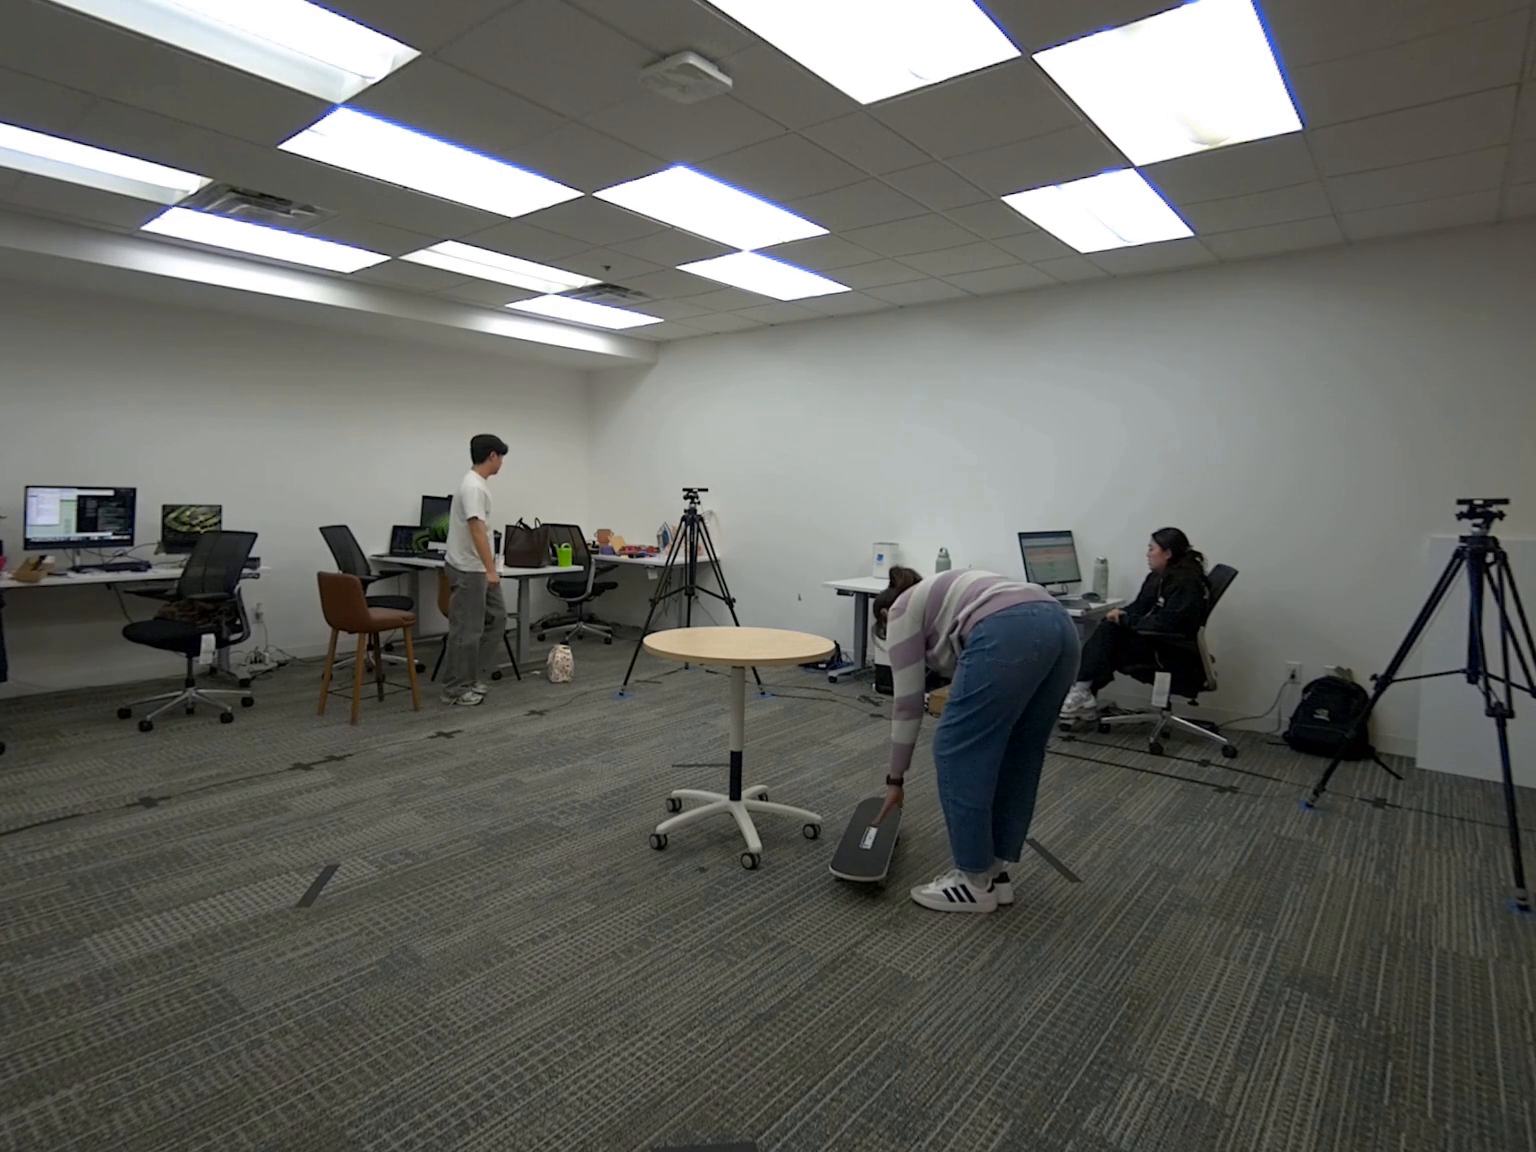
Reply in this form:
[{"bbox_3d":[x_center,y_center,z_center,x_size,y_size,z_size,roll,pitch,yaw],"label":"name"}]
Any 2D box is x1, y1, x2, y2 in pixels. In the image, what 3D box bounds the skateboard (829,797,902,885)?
[{"bbox_3d":[0.373,1.013,3.209,0.197,0.110,0.775,1,6,15],"label":"skateboard"}]
